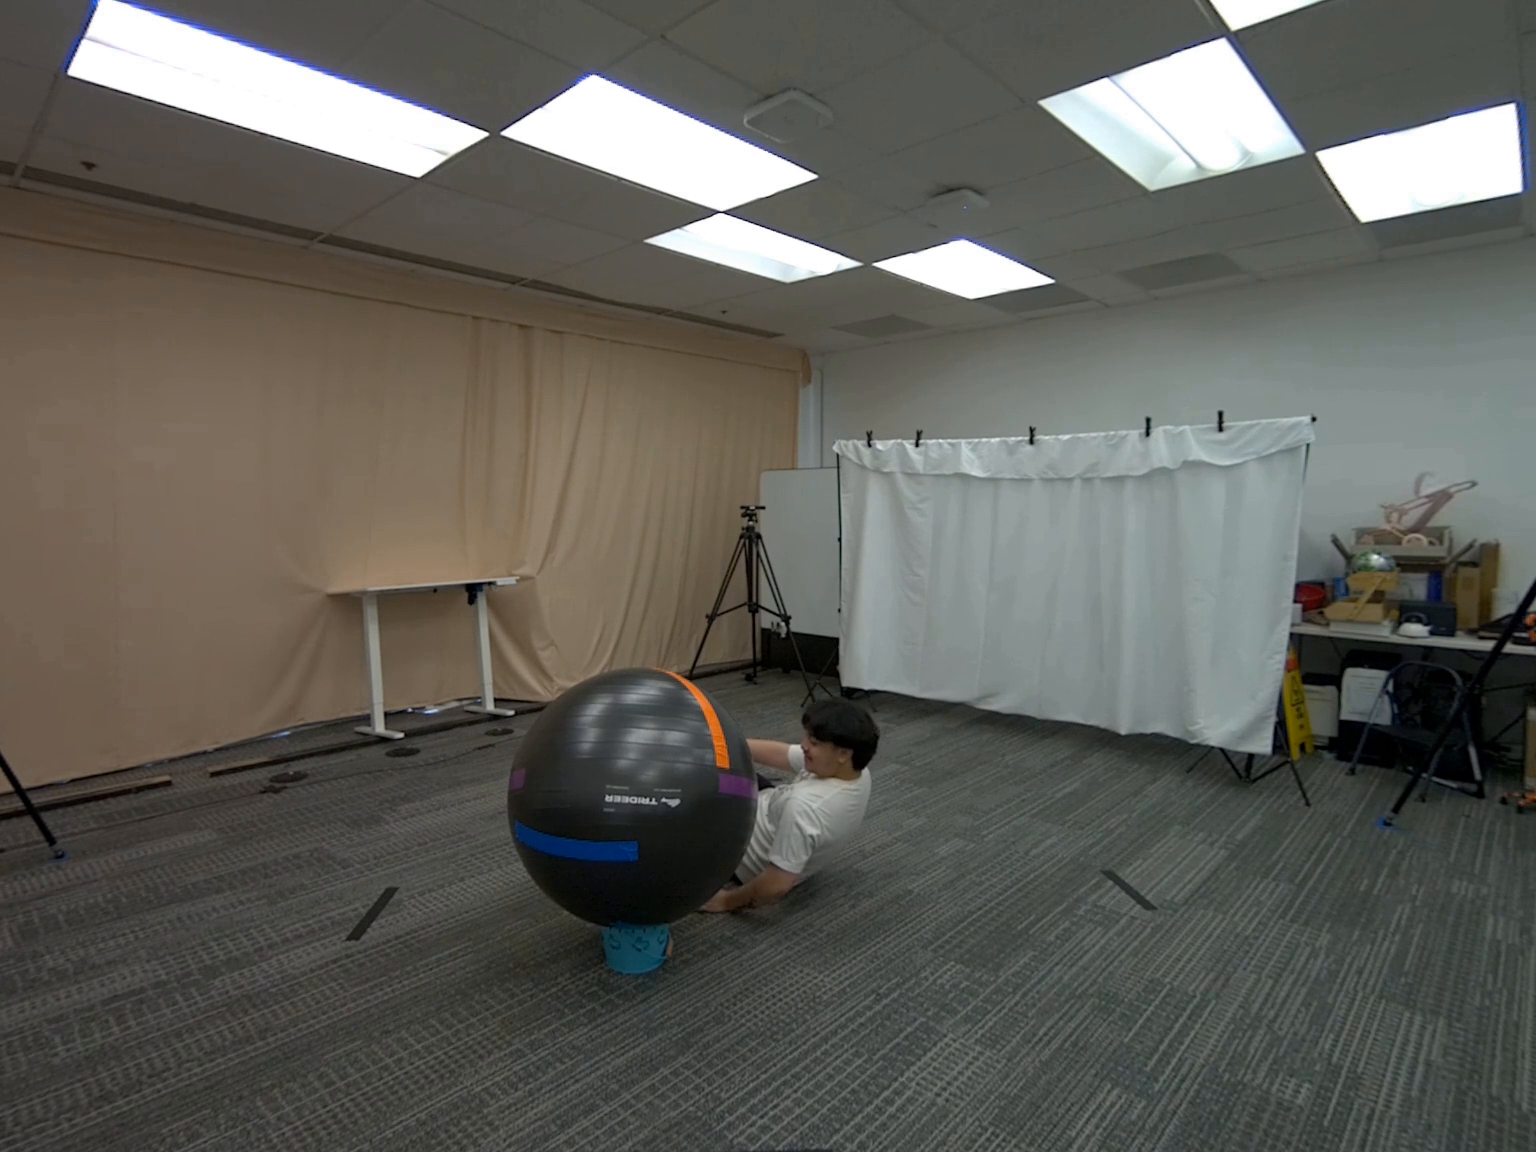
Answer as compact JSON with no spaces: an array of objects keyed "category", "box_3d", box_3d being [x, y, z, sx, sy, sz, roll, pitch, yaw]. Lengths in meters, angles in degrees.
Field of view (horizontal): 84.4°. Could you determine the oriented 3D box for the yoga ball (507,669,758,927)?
[{"category":"yoga ball","box_3d":[-0.419,0.665,2.573,0.757,0.756,0.761,0,4,-2]}]
